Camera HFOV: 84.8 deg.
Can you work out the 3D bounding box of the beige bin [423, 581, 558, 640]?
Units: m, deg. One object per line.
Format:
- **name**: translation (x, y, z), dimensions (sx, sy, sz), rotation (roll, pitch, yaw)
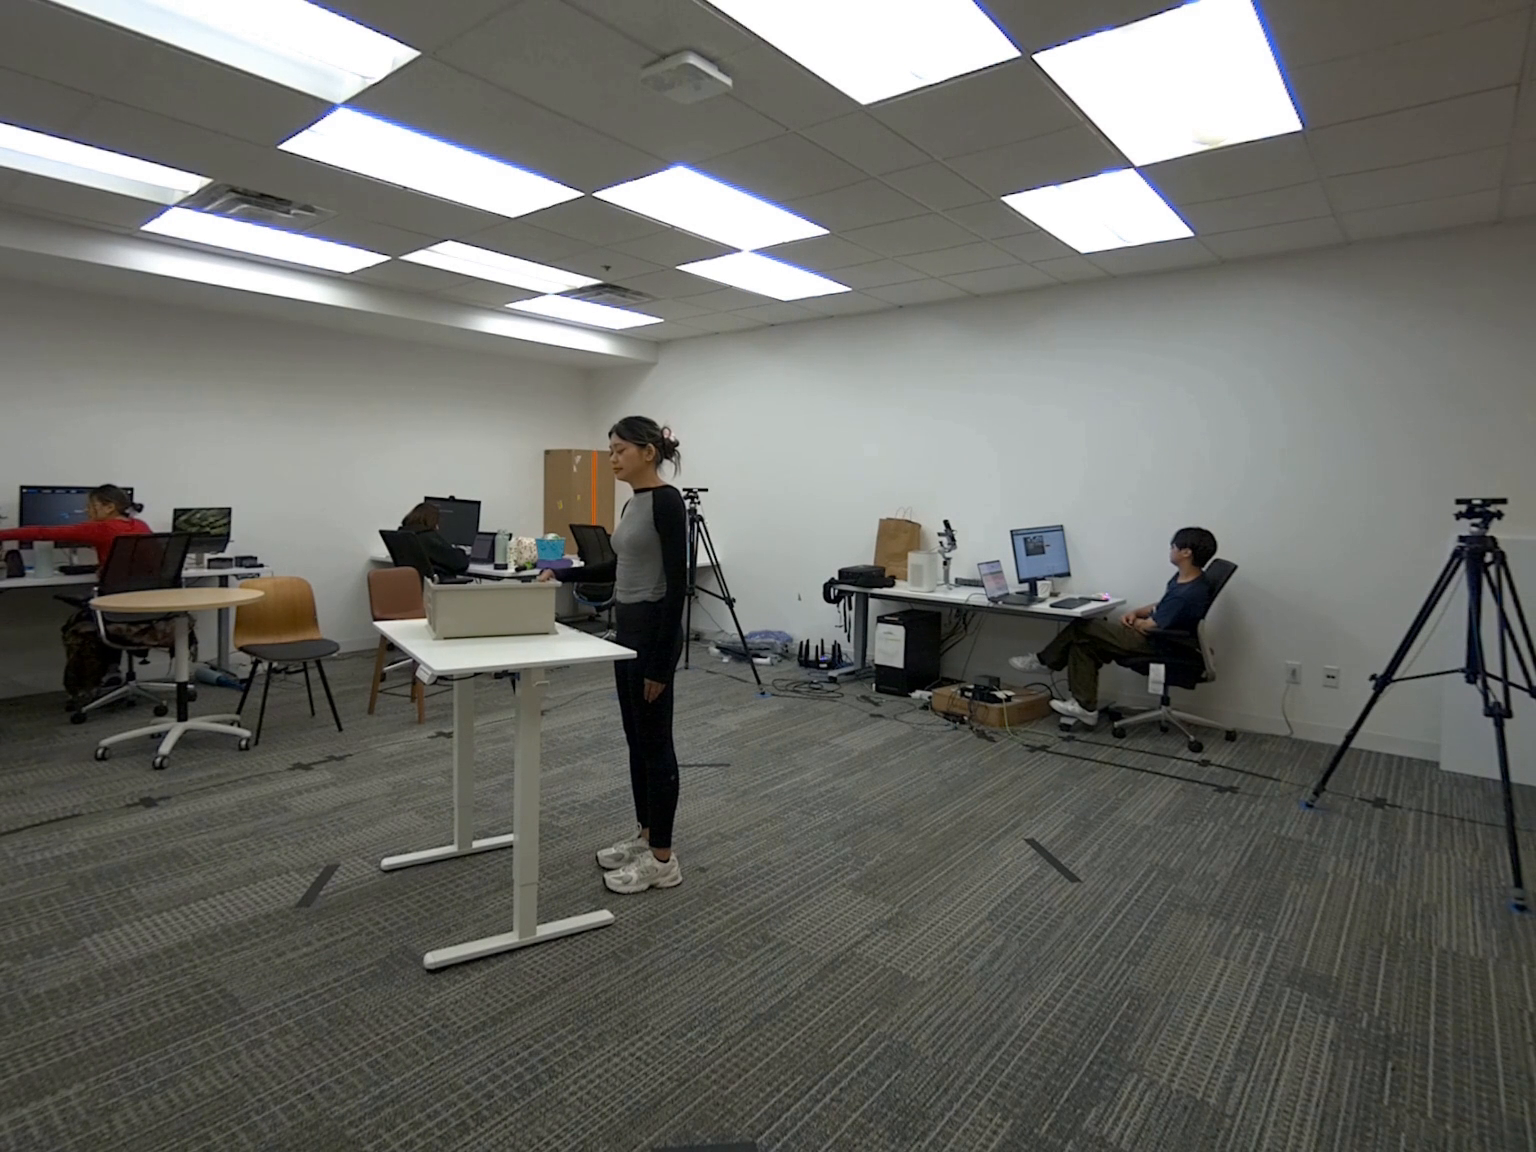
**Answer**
- **beige bin**: translation (-0.988, 0.098, 2.996), dimensions (0.413, 0.188, 0.388), rotation (-1, 7, -24)
